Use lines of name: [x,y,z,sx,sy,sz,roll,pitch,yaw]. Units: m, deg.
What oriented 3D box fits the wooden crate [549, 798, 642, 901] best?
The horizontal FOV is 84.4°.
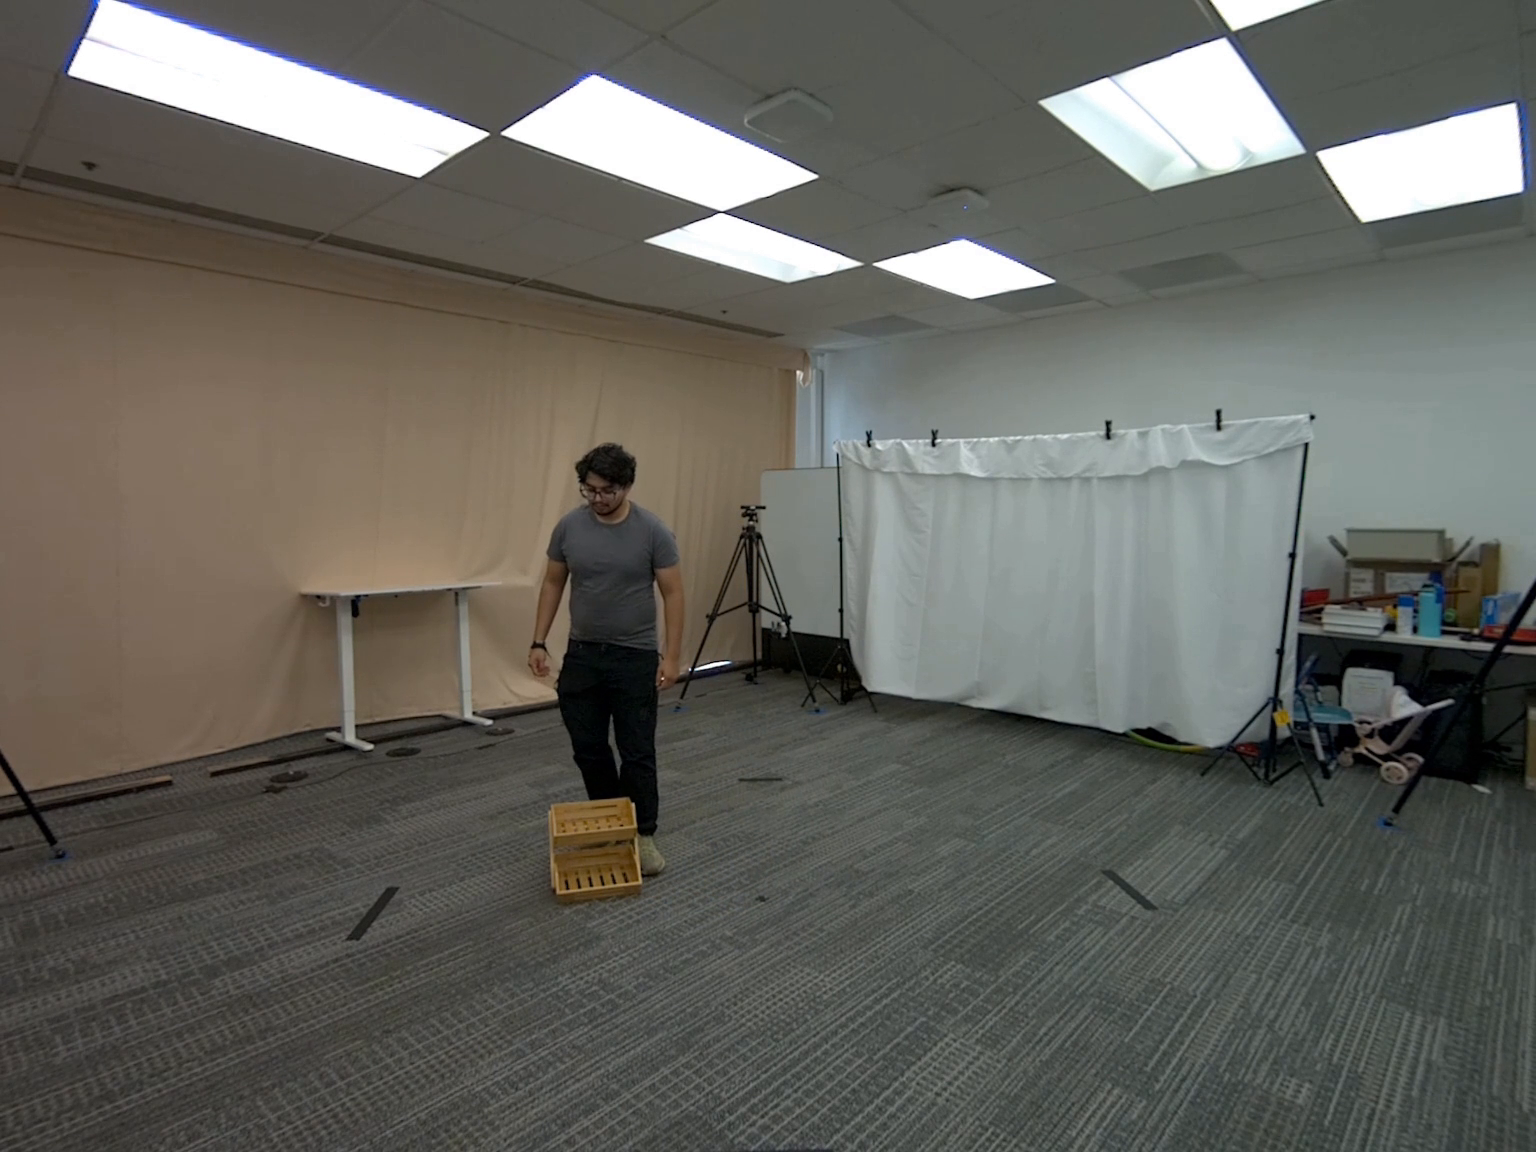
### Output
wooden crate: [-0.645,1.004,3.107,0.319,0.273,0.307,-1,3,-15]
